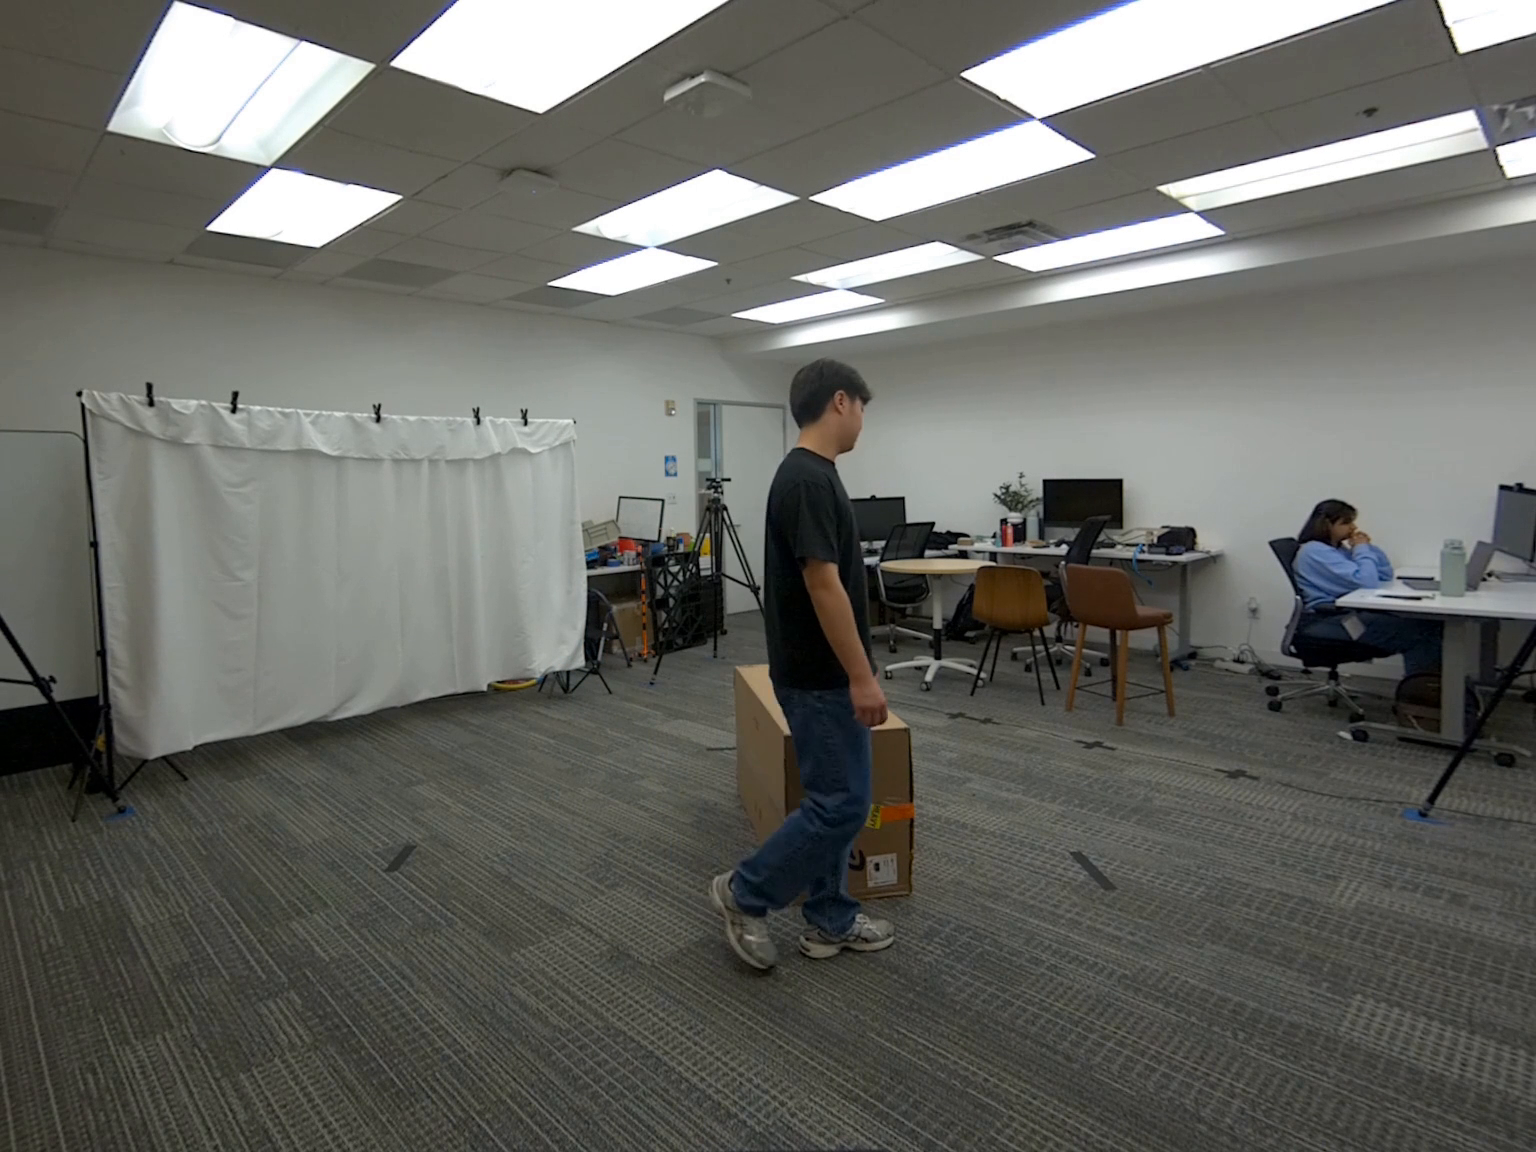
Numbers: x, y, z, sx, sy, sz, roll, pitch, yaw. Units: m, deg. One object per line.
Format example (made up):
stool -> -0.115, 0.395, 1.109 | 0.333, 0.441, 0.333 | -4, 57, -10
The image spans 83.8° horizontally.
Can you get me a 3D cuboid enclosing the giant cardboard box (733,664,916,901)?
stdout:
giant cardboard box -> 0.175, 0.730, 3.298 | 0.442, 0.581, 1.042 | -1, 6, -11
